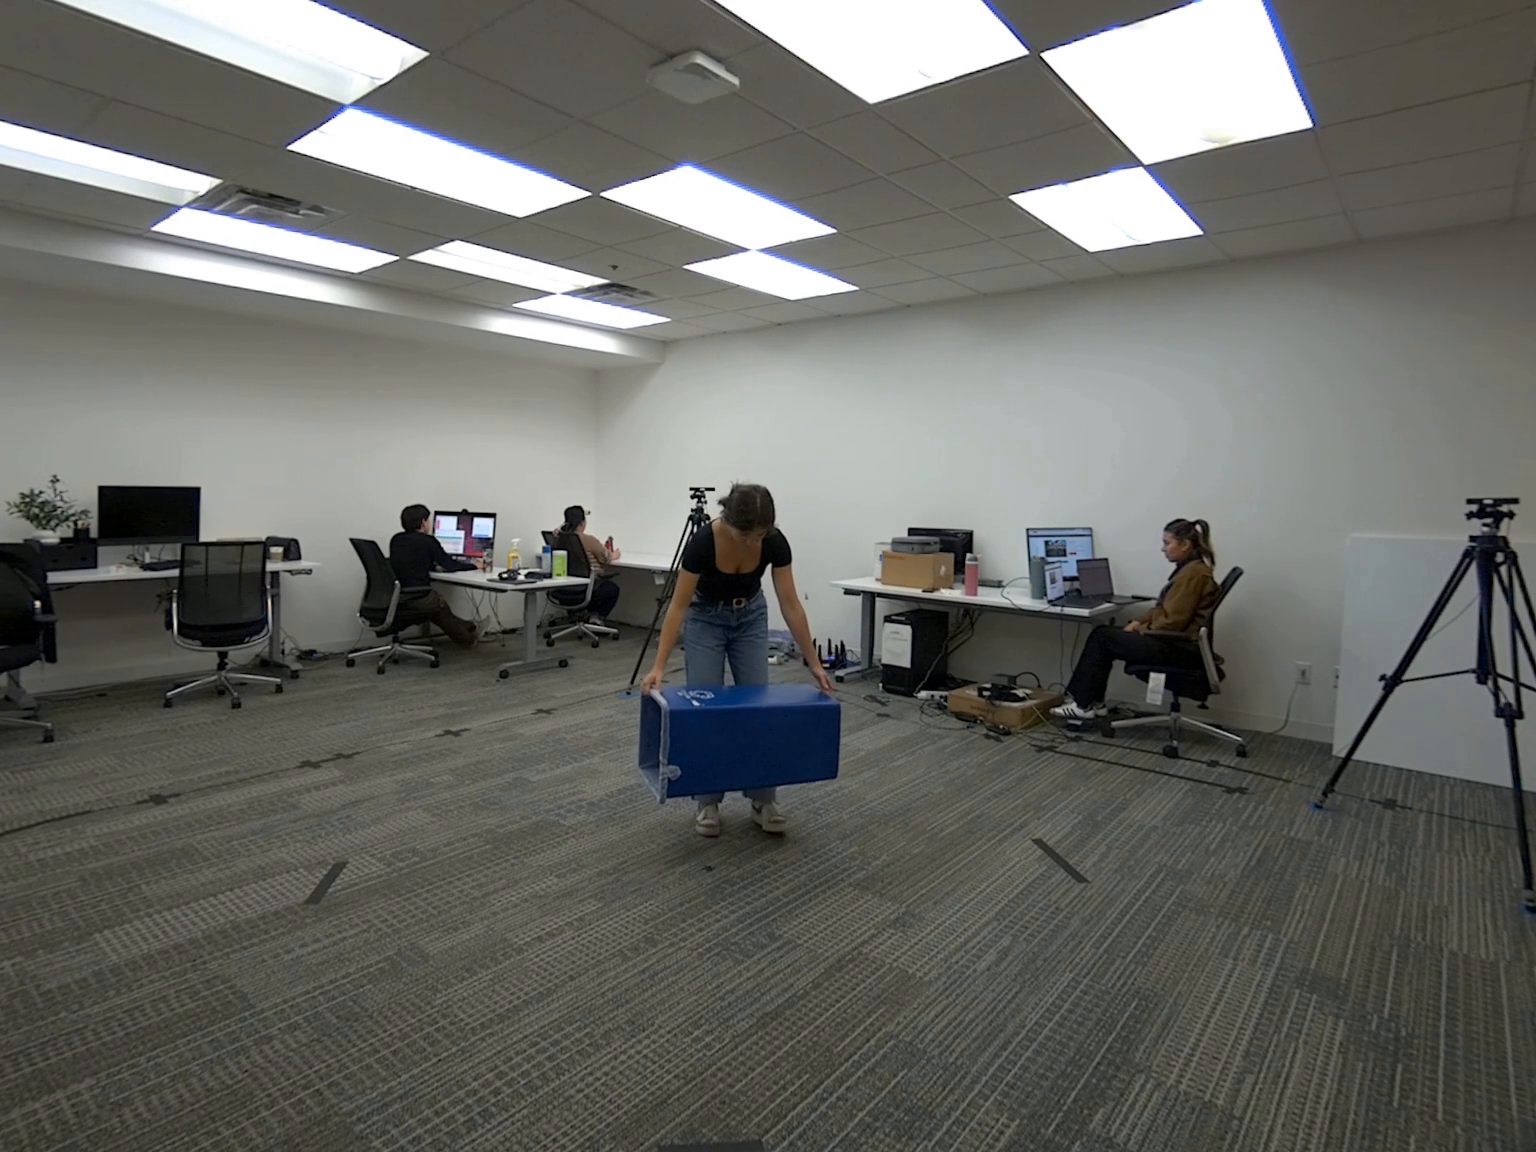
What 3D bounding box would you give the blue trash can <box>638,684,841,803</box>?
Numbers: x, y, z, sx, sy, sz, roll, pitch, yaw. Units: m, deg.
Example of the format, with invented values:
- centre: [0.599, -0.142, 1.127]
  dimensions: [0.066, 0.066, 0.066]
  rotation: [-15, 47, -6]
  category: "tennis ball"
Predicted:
- centre: [-0.116, 0.614, 3.282]
  dimensions: [0.700, 0.373, 0.387]
  rotation: [1, 5, -19]
  category: "blue trash can"
